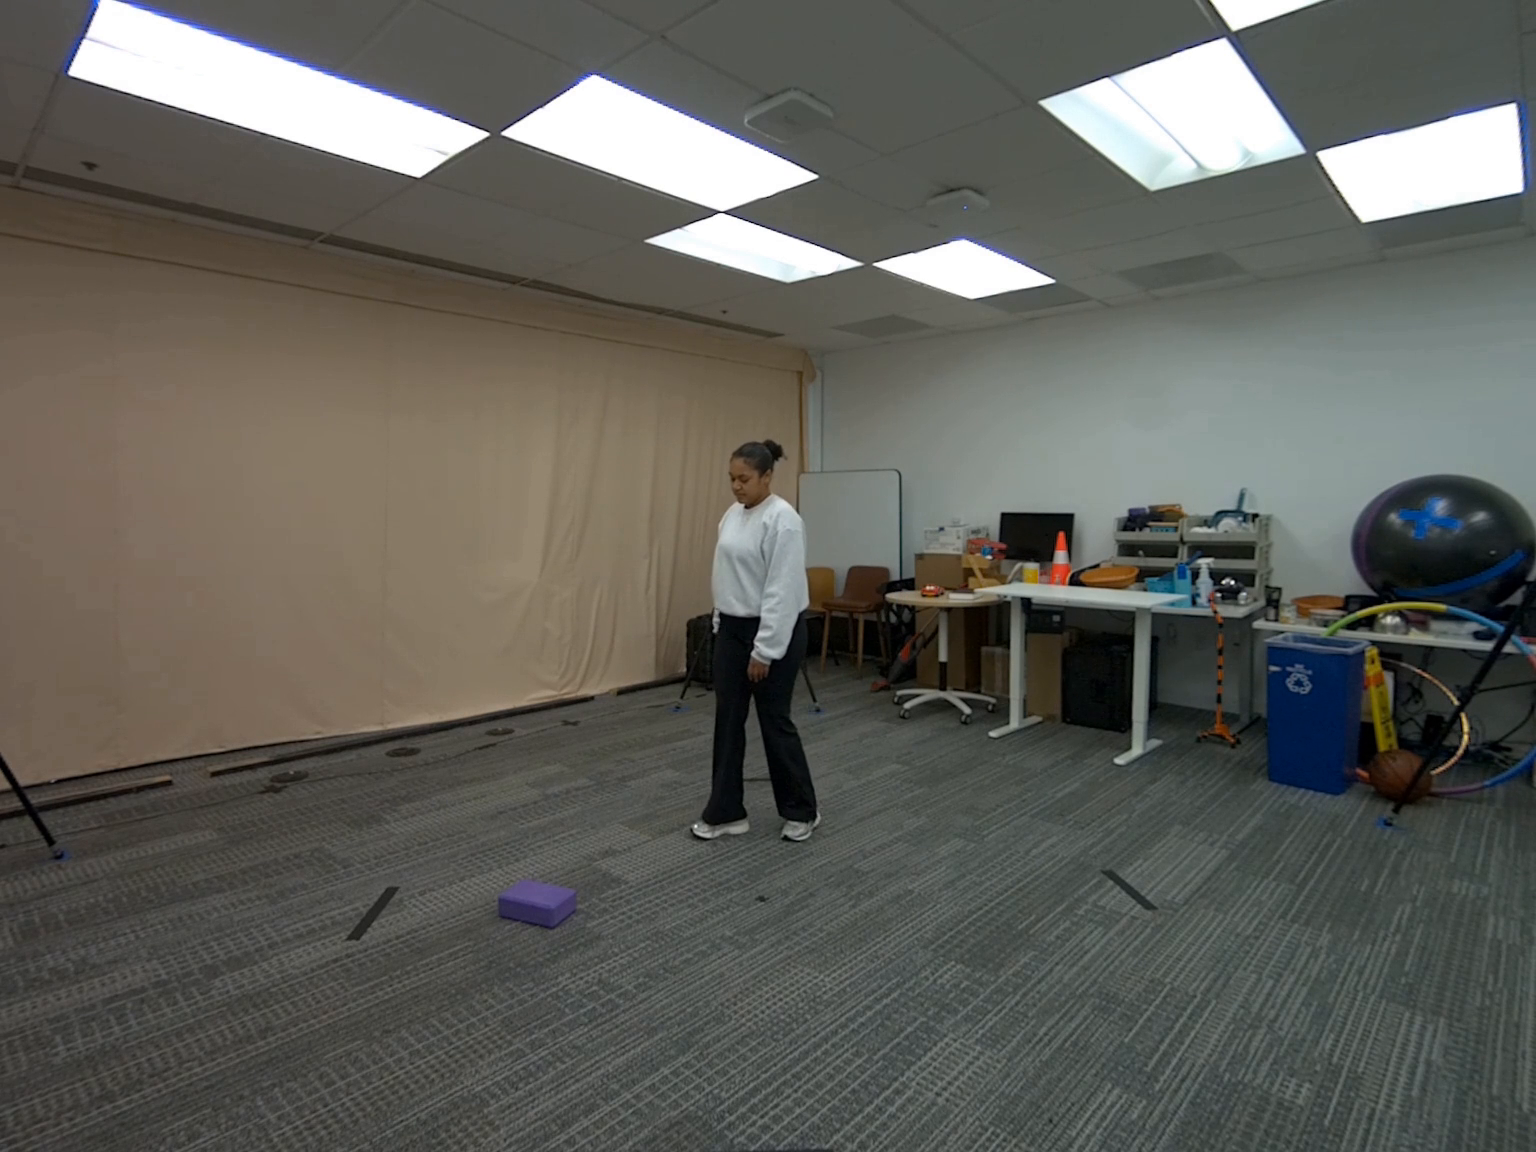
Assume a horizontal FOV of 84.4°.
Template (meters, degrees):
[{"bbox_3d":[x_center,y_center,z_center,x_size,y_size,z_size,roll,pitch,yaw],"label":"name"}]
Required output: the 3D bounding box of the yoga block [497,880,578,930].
[{"bbox_3d":[-0.793,1.122,2.876,0.235,0.076,0.146,2,5,23],"label":"yoga block"}]
